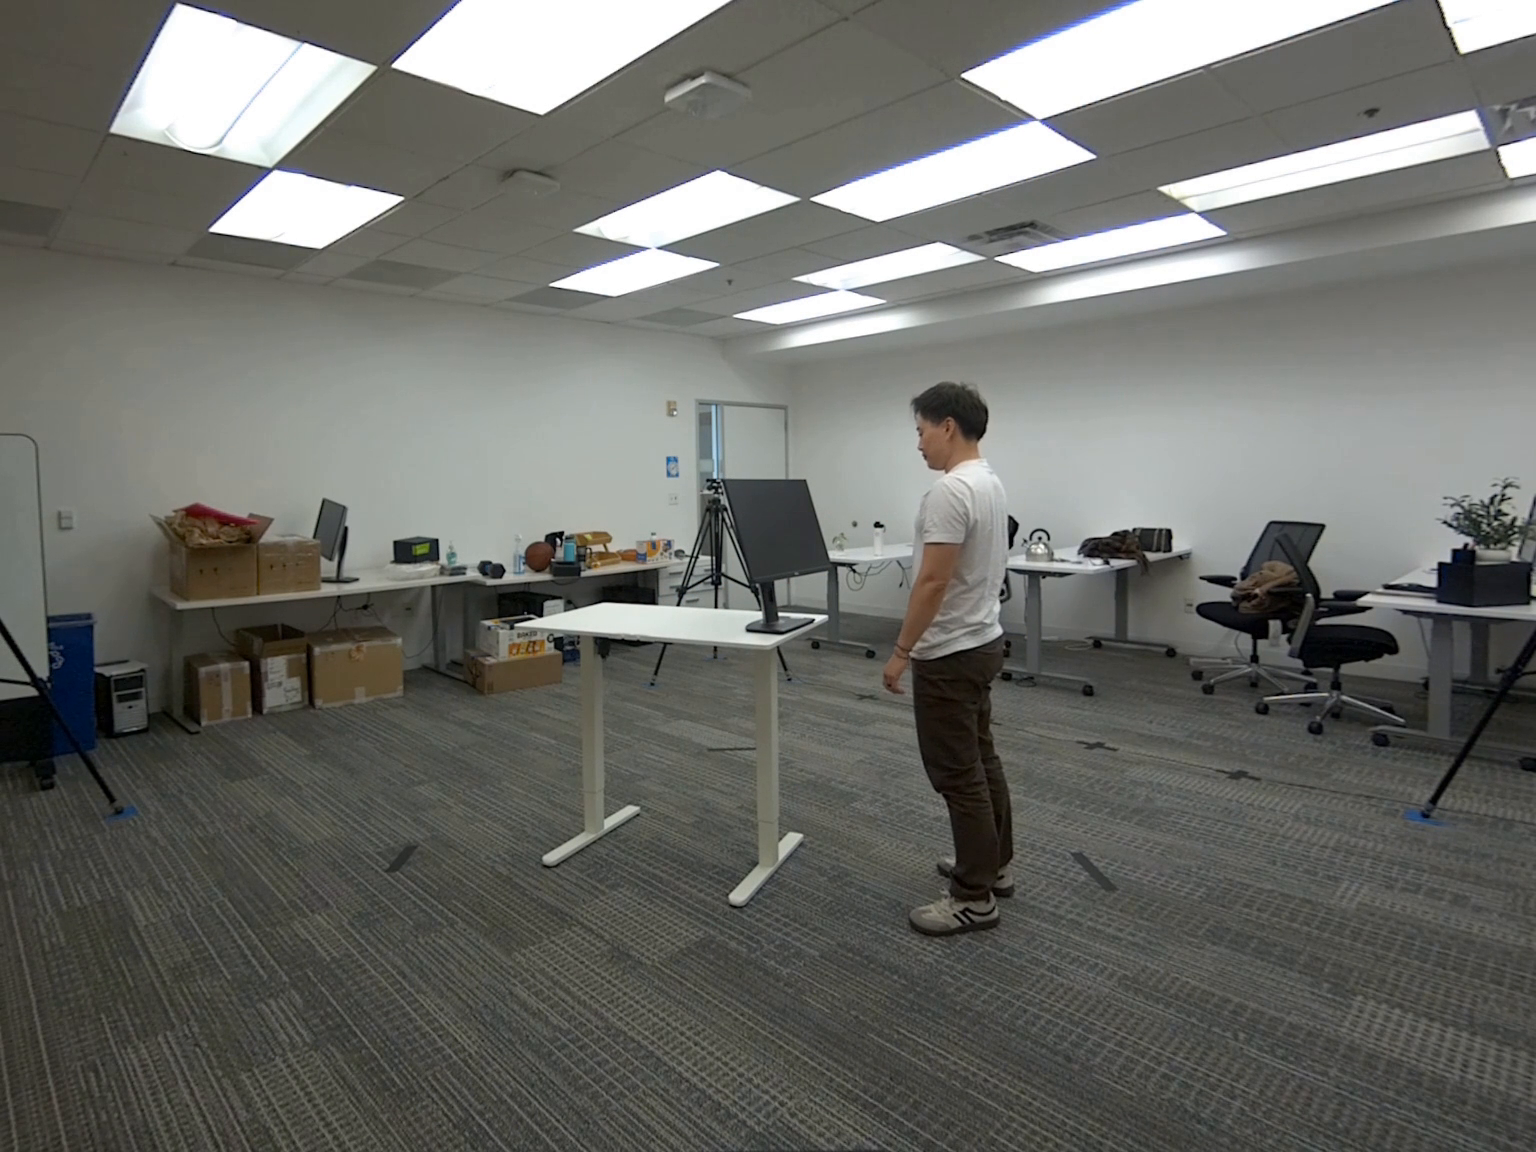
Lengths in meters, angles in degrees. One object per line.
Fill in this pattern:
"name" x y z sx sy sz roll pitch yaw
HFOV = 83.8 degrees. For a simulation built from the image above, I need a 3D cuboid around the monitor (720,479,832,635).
"monitor" 0.028 -0.078 2.977 0.192 0.522 0.526 -3 2 31
